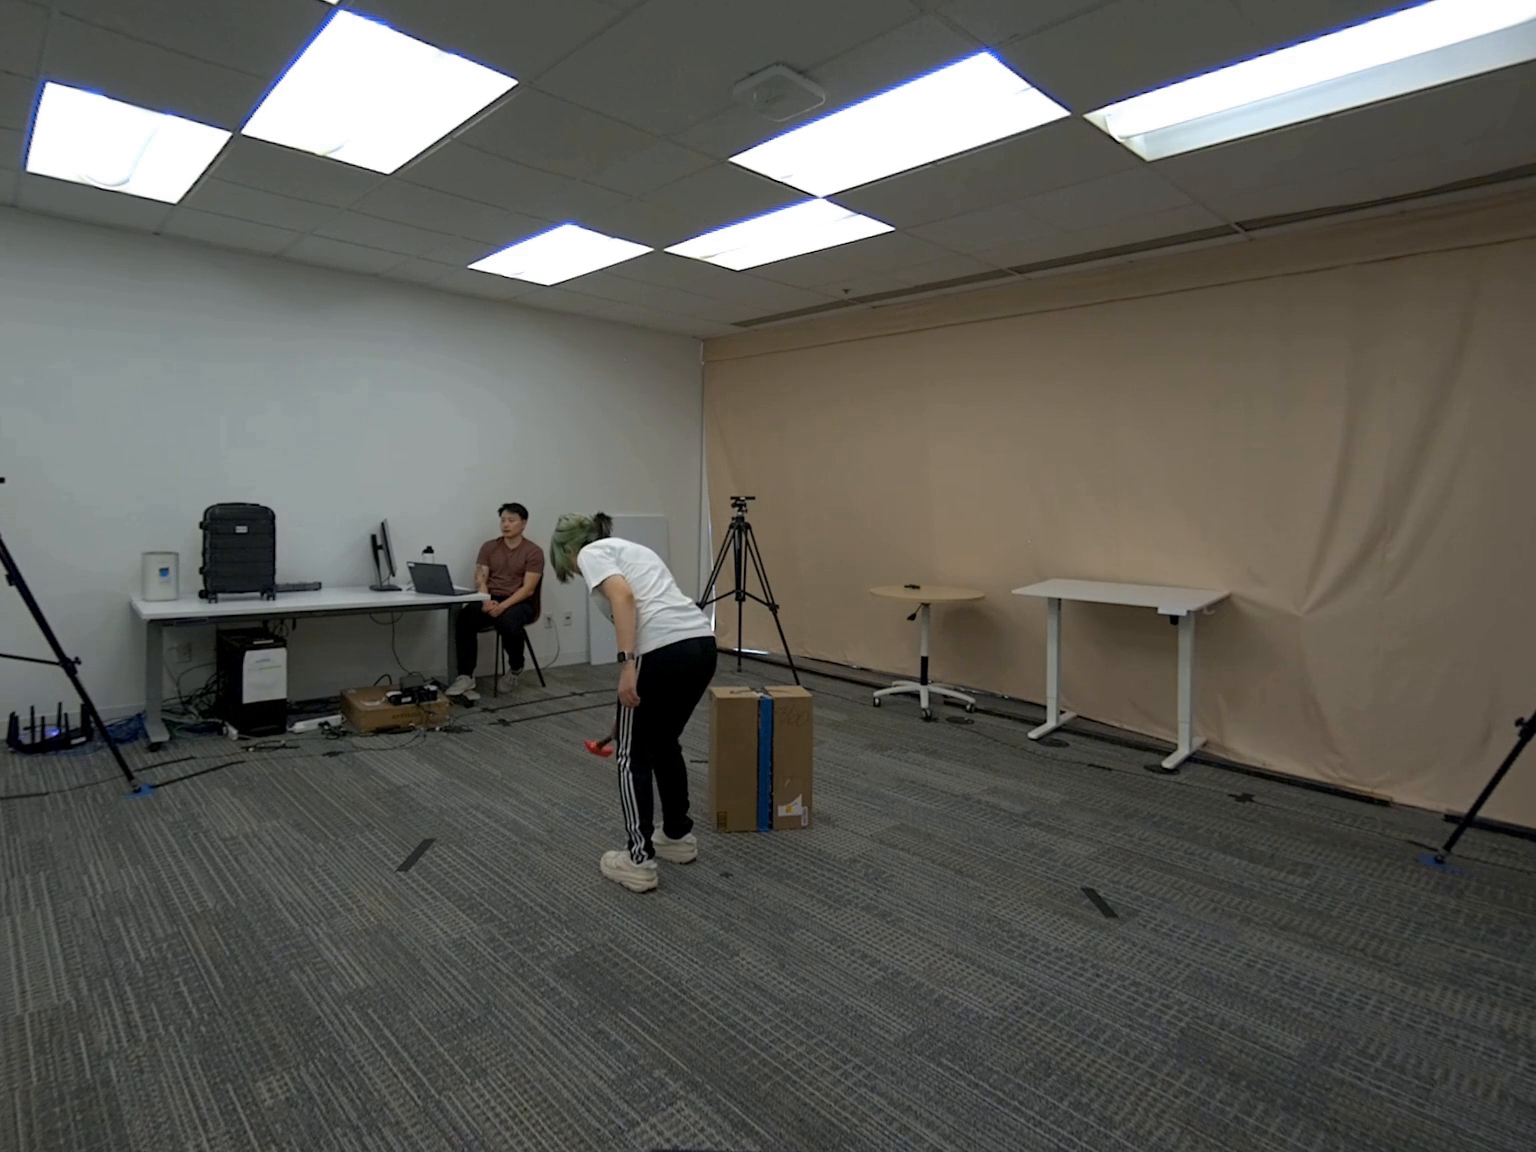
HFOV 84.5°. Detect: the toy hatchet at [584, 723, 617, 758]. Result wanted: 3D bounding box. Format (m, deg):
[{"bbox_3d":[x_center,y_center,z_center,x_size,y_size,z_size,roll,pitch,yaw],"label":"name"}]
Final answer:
[{"bbox_3d":[-0.614,0.678,3.428,0.272,0.127,0.030,-18,33,18],"label":"toy hatchet"}]
